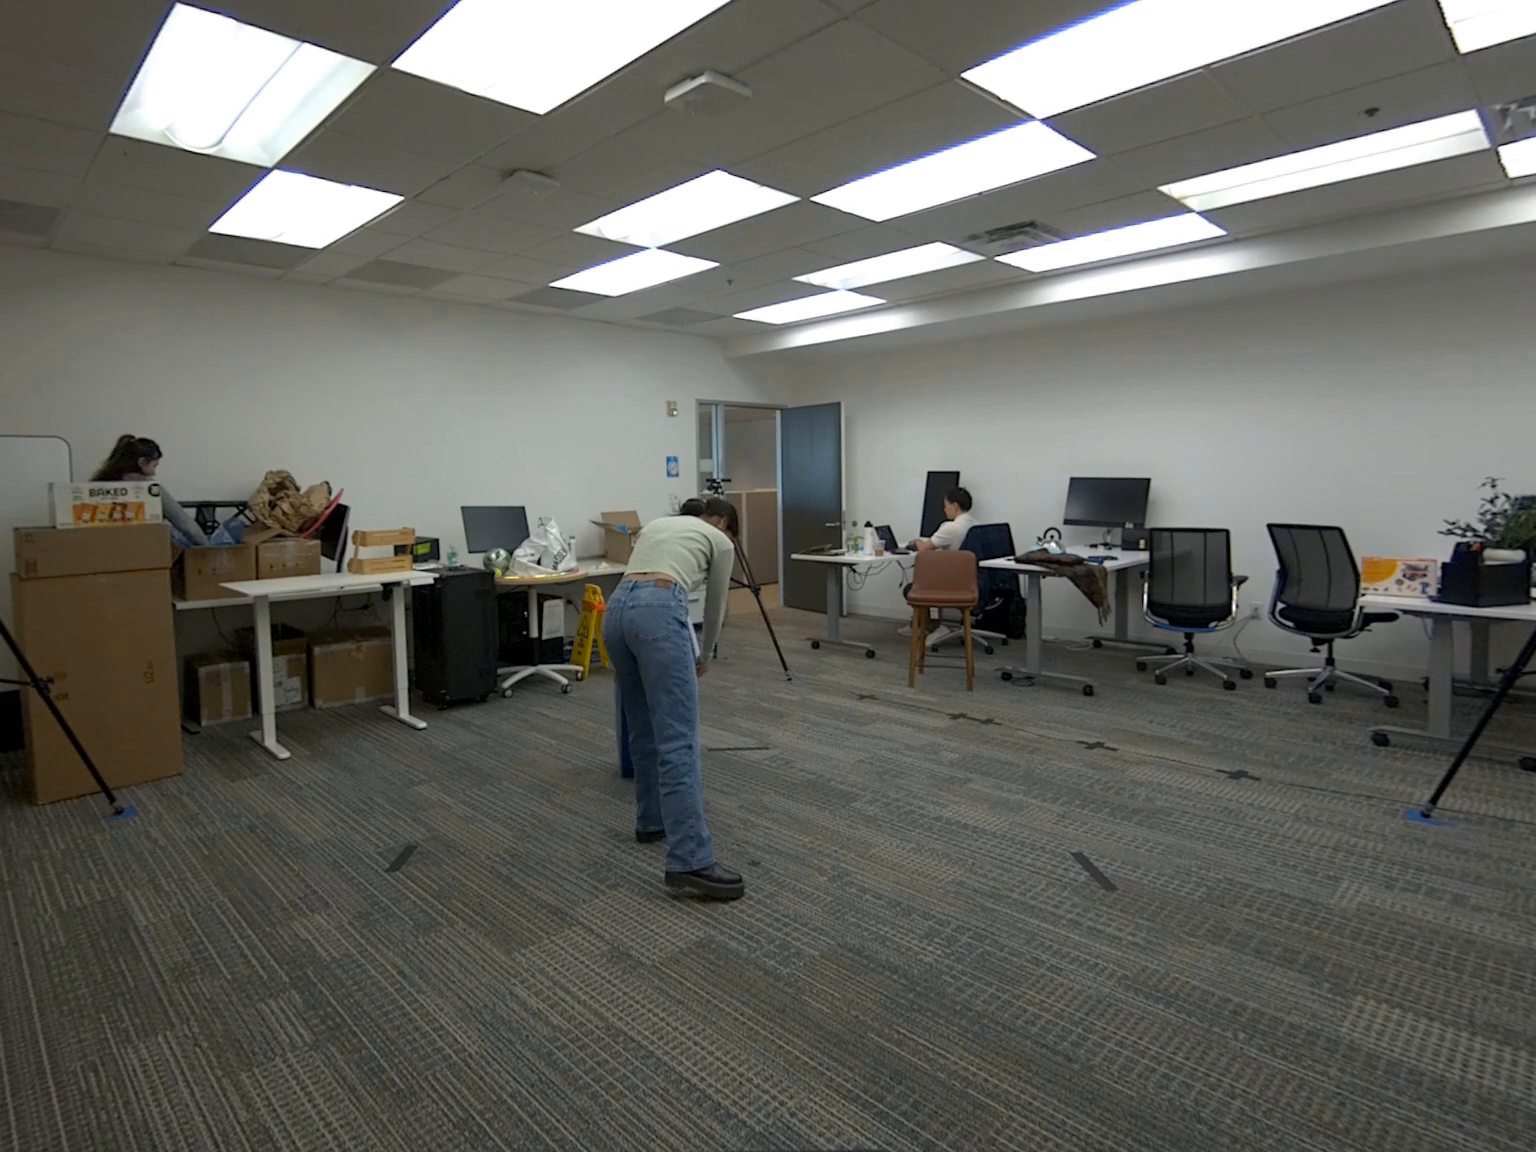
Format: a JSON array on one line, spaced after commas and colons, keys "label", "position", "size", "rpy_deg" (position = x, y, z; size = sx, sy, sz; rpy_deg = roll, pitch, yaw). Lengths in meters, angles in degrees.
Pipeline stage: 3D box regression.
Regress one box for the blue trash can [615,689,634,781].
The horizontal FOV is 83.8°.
[{"label": "blue trash can", "position": [-0.520, 0.581, 3.965], "size": [0.373, 0.697, 0.387], "rpy_deg": [-4, 37, -15]}]
